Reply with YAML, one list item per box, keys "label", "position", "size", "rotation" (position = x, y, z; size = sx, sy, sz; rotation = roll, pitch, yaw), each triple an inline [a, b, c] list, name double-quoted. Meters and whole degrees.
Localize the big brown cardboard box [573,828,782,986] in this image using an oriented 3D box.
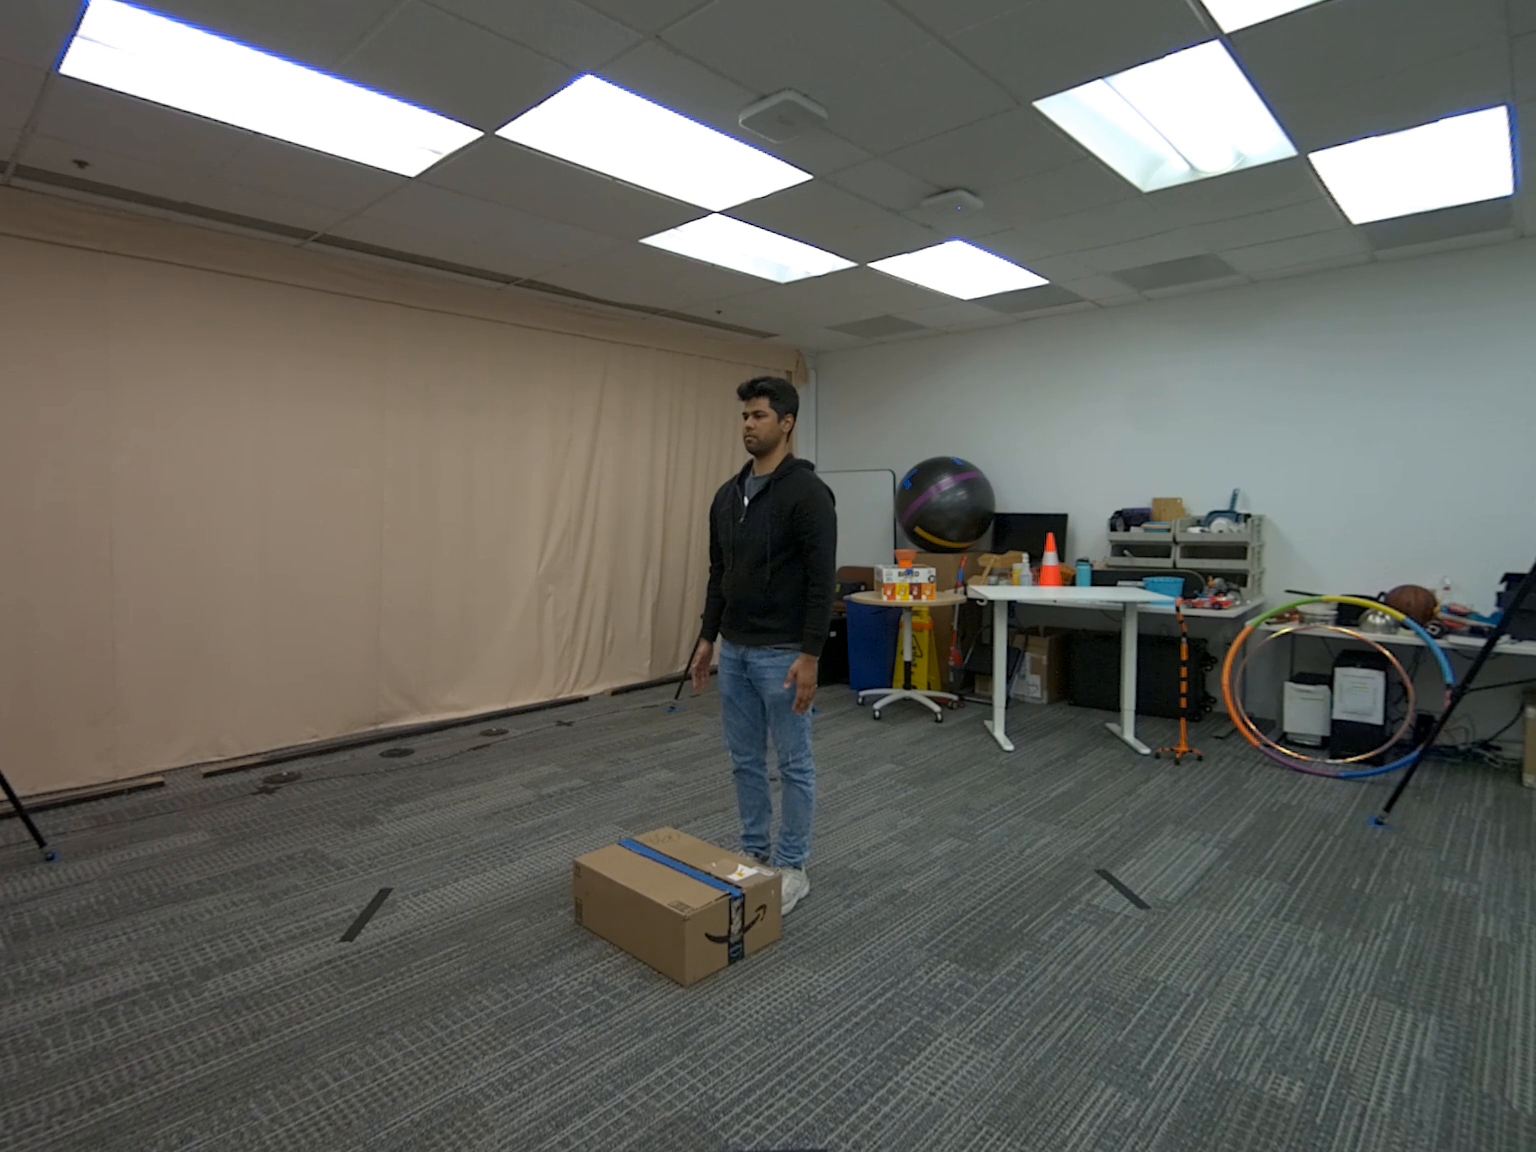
- label: "big brown cardboard box"
  position: [-0.299, 1.052, 2.762]
  size: [0.608, 0.232, 0.405]
  rotation: [3, 5, 44]
